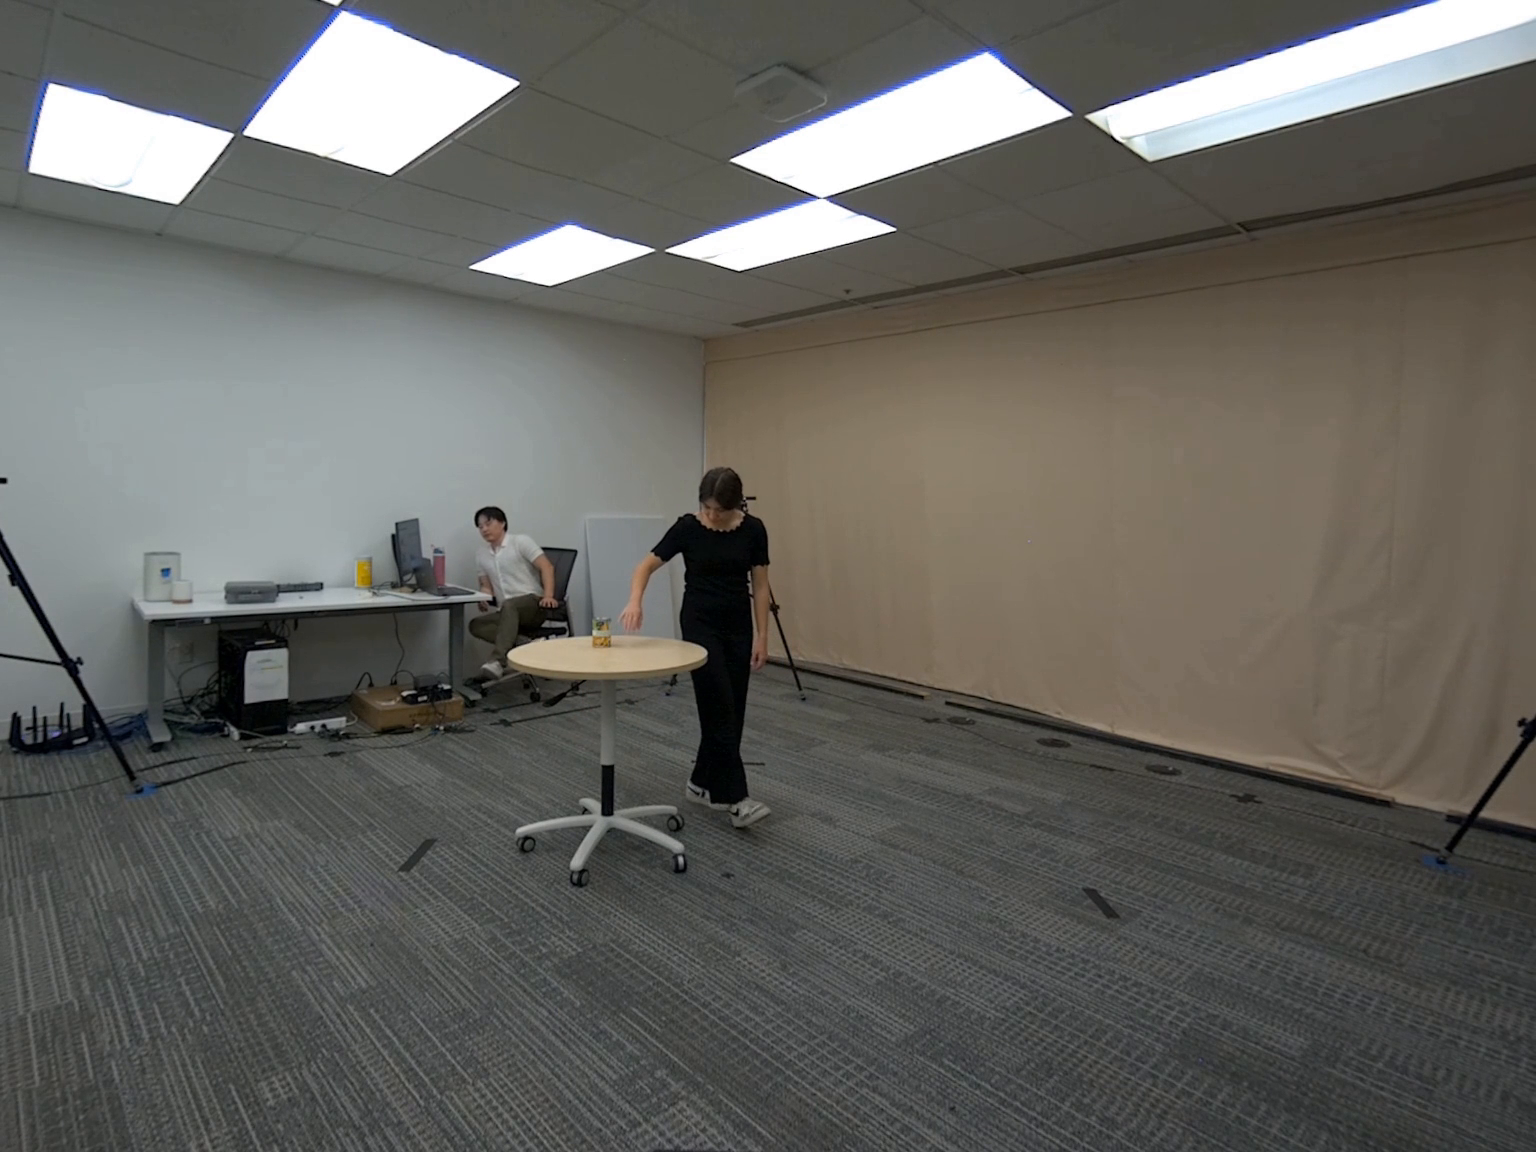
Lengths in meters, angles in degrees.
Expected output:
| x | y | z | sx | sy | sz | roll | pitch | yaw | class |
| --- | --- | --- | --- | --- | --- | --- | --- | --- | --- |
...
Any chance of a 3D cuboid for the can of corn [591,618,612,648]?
| x | y | z | sx | sy | sz | roll | pitch | yaw | class |
| --- | --- | --- | --- | --- | --- | --- | --- | --- | --- |
| -0.681 | 0.228 | 3.391 | 0.074 | 0.111 | 0.074 | 1 | 1 | -1 | can of corn |
